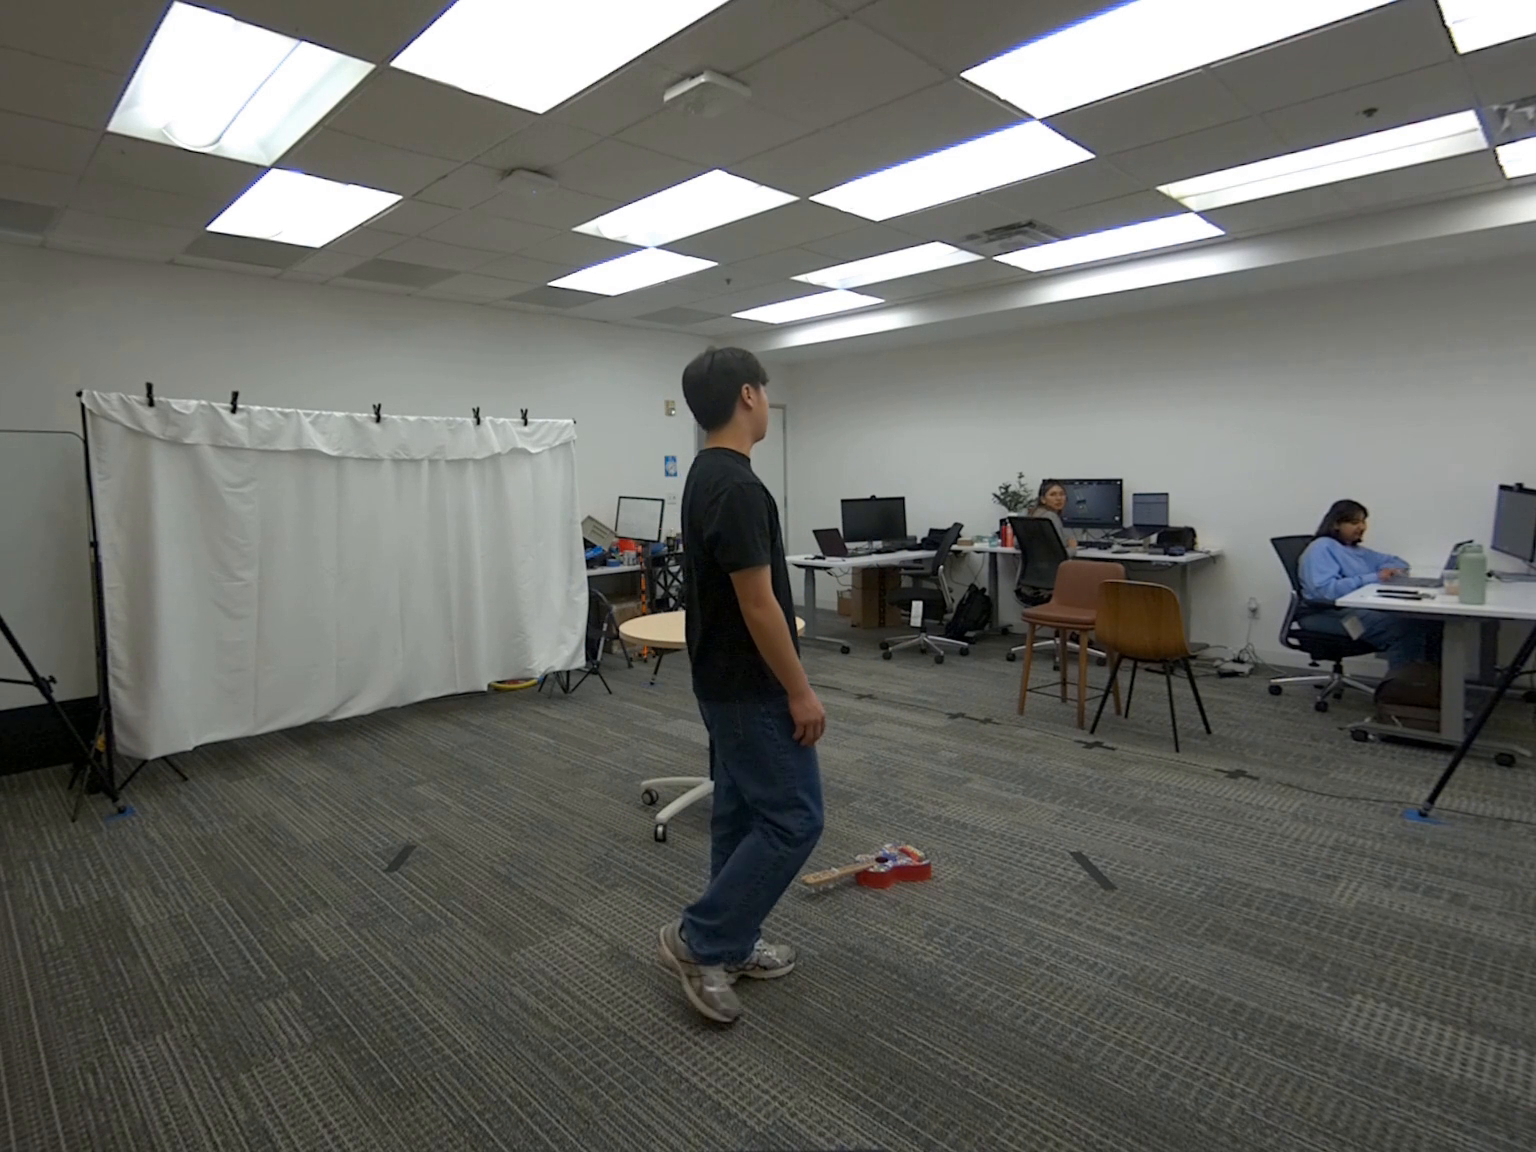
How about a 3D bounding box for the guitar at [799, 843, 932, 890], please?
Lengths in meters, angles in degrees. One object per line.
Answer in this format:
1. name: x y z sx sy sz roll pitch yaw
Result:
1. guitar: 0.325 1.017 2.971 0.489 0.070 0.197 -3 7 -19
